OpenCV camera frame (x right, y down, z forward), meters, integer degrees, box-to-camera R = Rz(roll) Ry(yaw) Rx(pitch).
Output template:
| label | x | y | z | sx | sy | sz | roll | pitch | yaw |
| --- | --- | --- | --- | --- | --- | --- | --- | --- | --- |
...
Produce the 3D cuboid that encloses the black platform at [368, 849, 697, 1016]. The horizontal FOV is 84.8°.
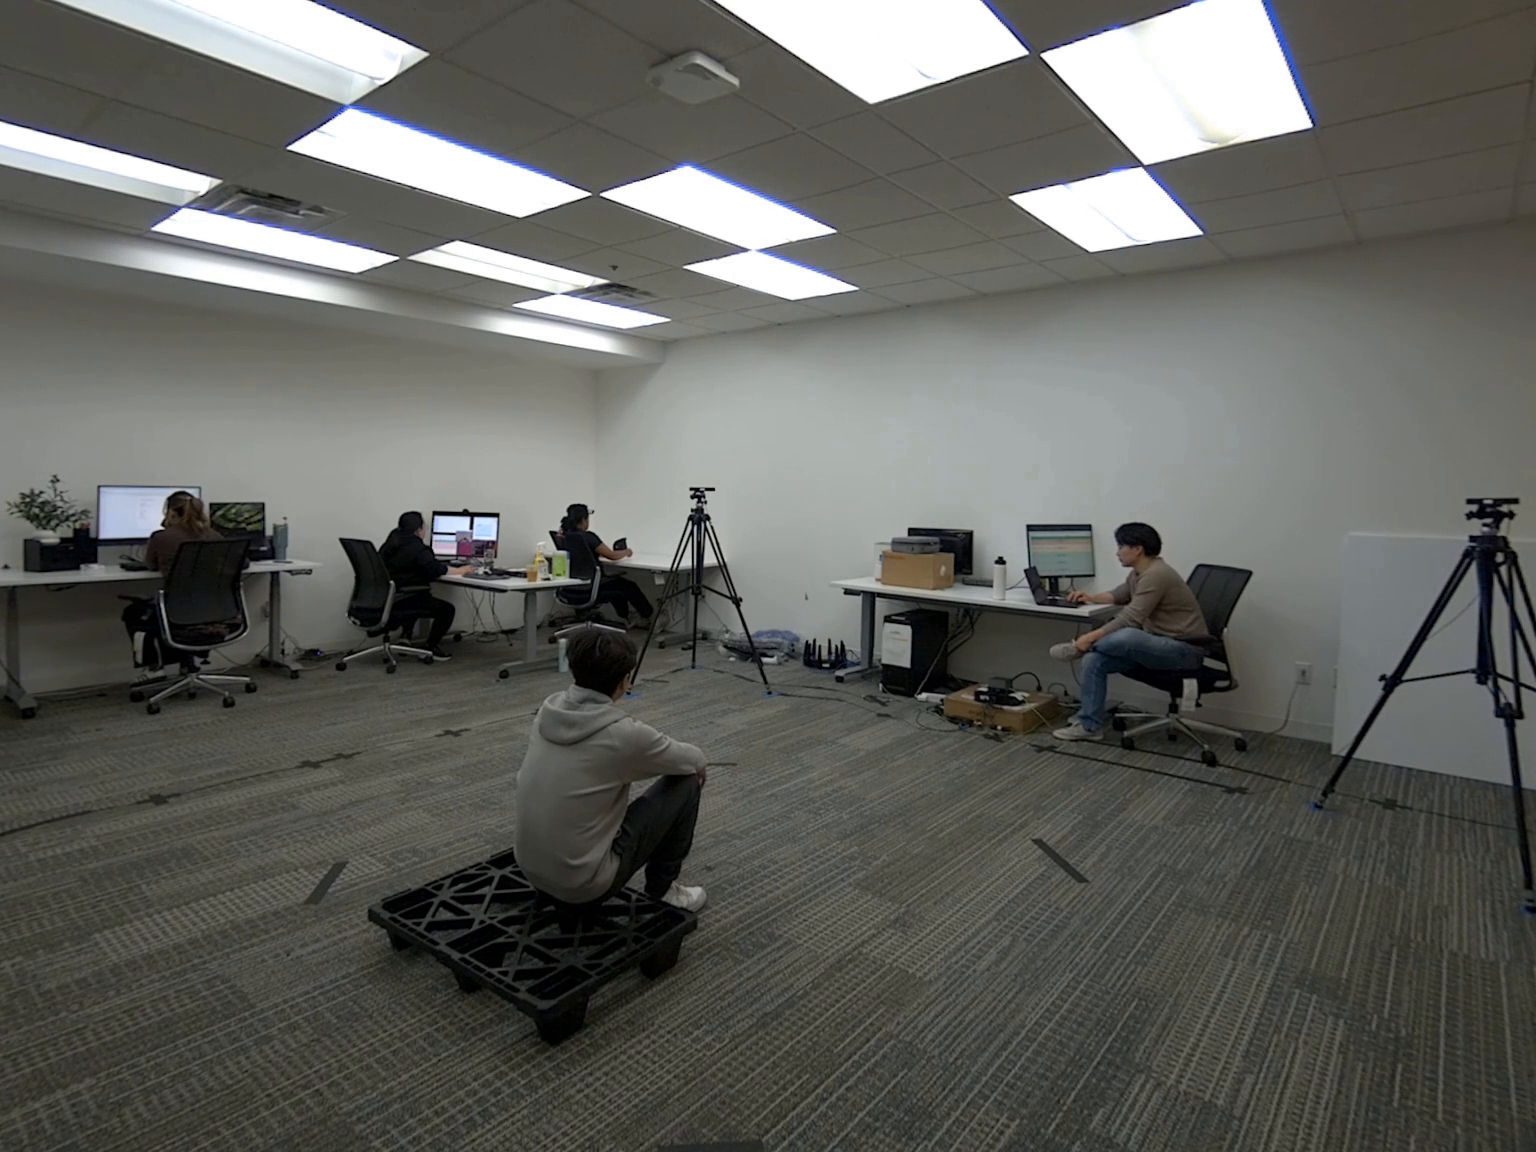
| label | x | y | z | sx | sy | sz | roll | pitch | yaw |
| --- | --- | --- | --- | --- | --- | --- | --- | --- | --- |
| black platform | -0.705 | 1.050 | 2.519 | 0.832 | 0.143 | 0.588 | 5 | 6 | 36 |
